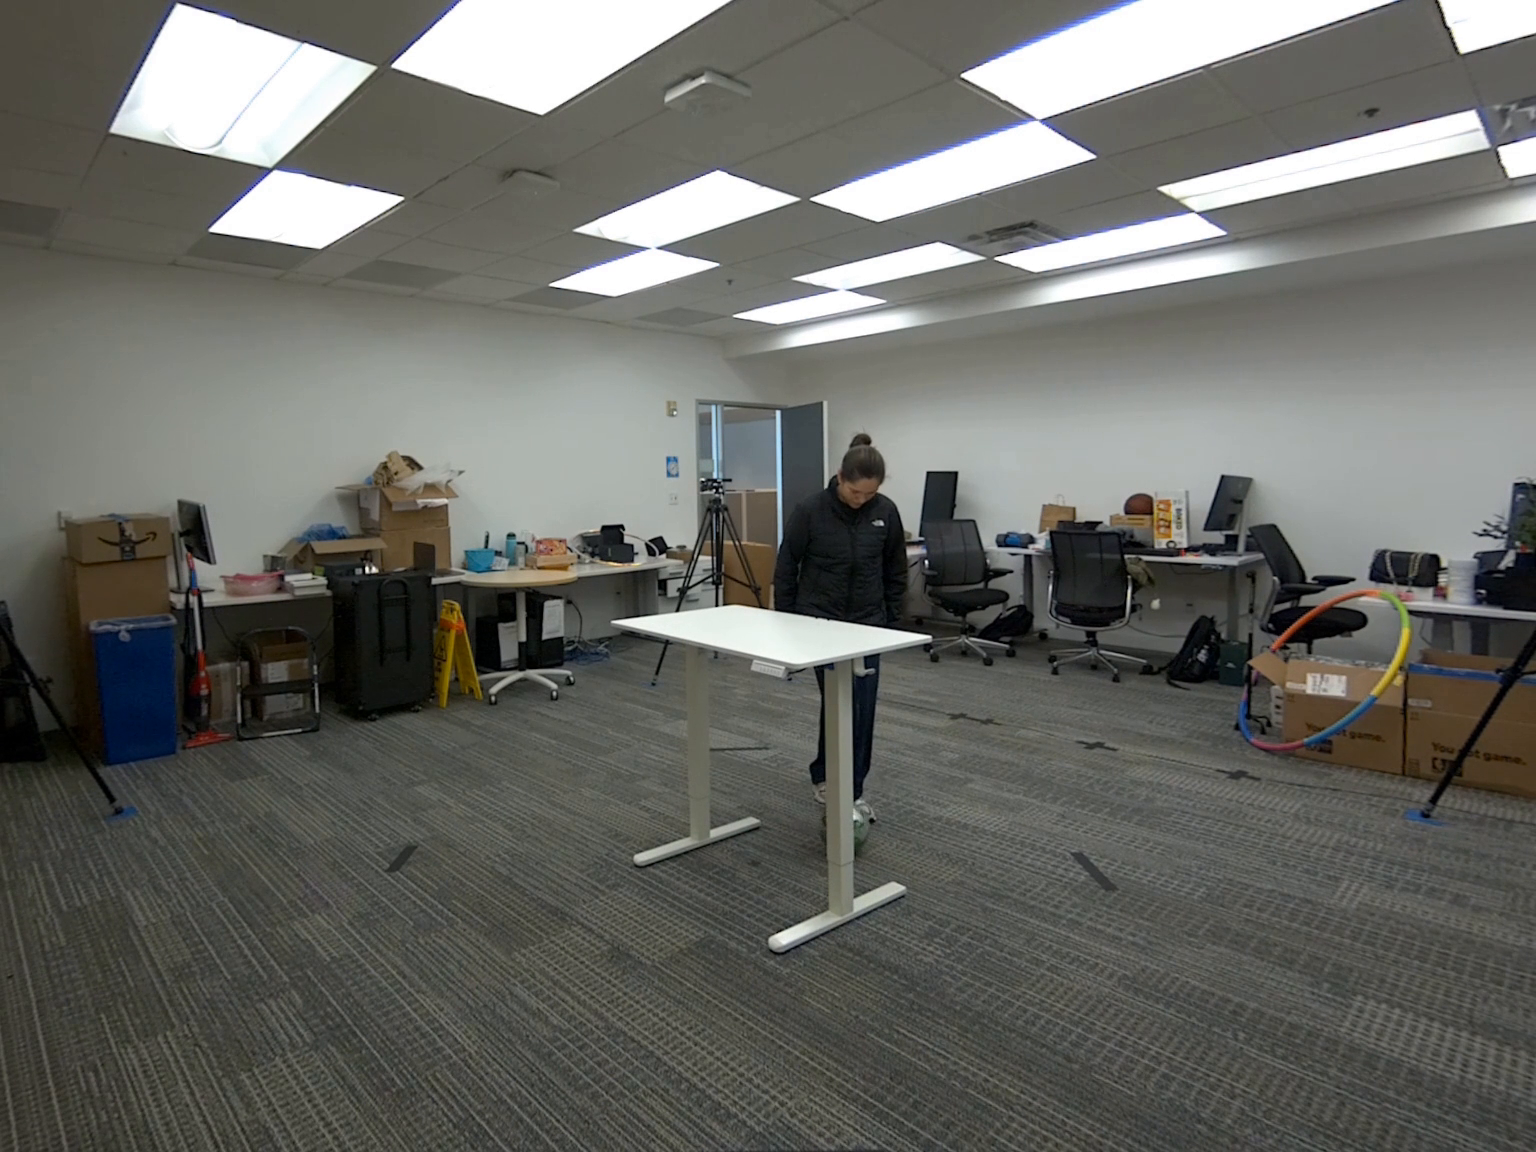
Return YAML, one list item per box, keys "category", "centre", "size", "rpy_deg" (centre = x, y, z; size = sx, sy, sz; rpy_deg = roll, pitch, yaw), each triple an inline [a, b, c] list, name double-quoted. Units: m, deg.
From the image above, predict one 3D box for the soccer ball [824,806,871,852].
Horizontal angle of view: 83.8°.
- category: "soccer ball"
  centre: [0.290, 0.939, 3.168]
  size: [0.187, 0.187, 0.188]
  rpy_deg: [-1, 5, -2]
